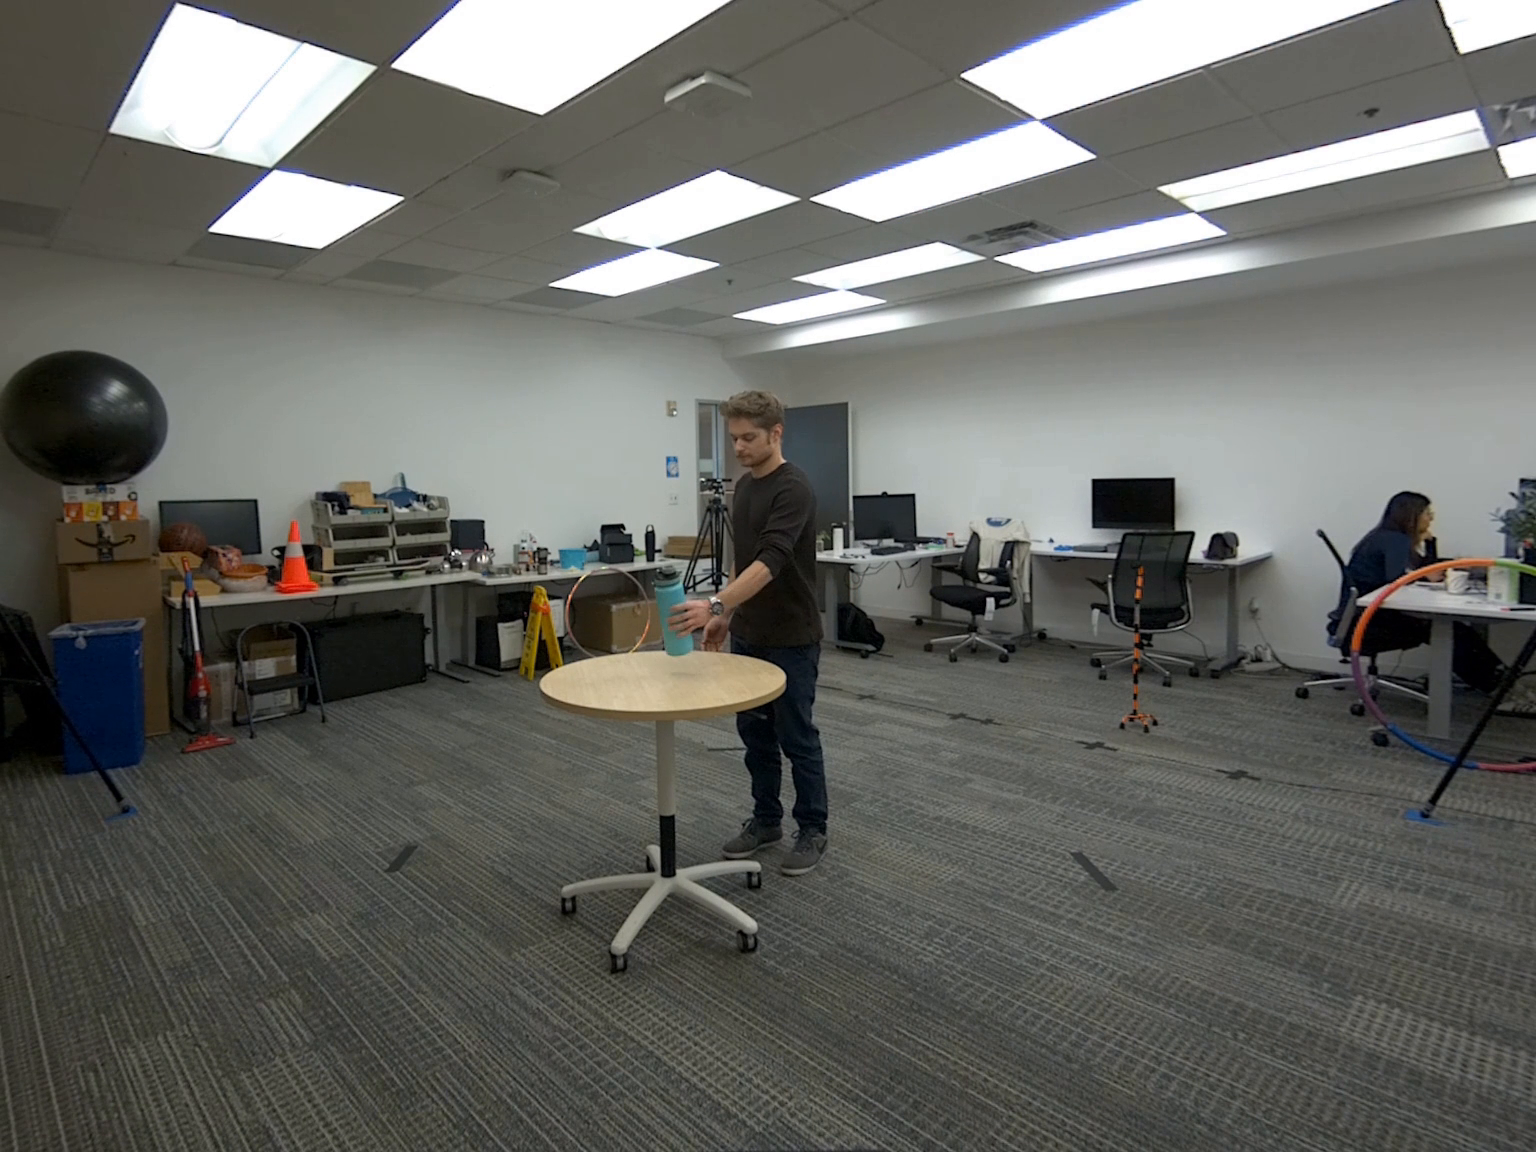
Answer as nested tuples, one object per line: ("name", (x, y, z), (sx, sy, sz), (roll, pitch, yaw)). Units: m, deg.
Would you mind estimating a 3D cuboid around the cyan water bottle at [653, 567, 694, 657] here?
("cyan water bottle", (-0.289, 0.103, 2.644), (0.092, 0.279, 0.094), (-8, 15, 1))
